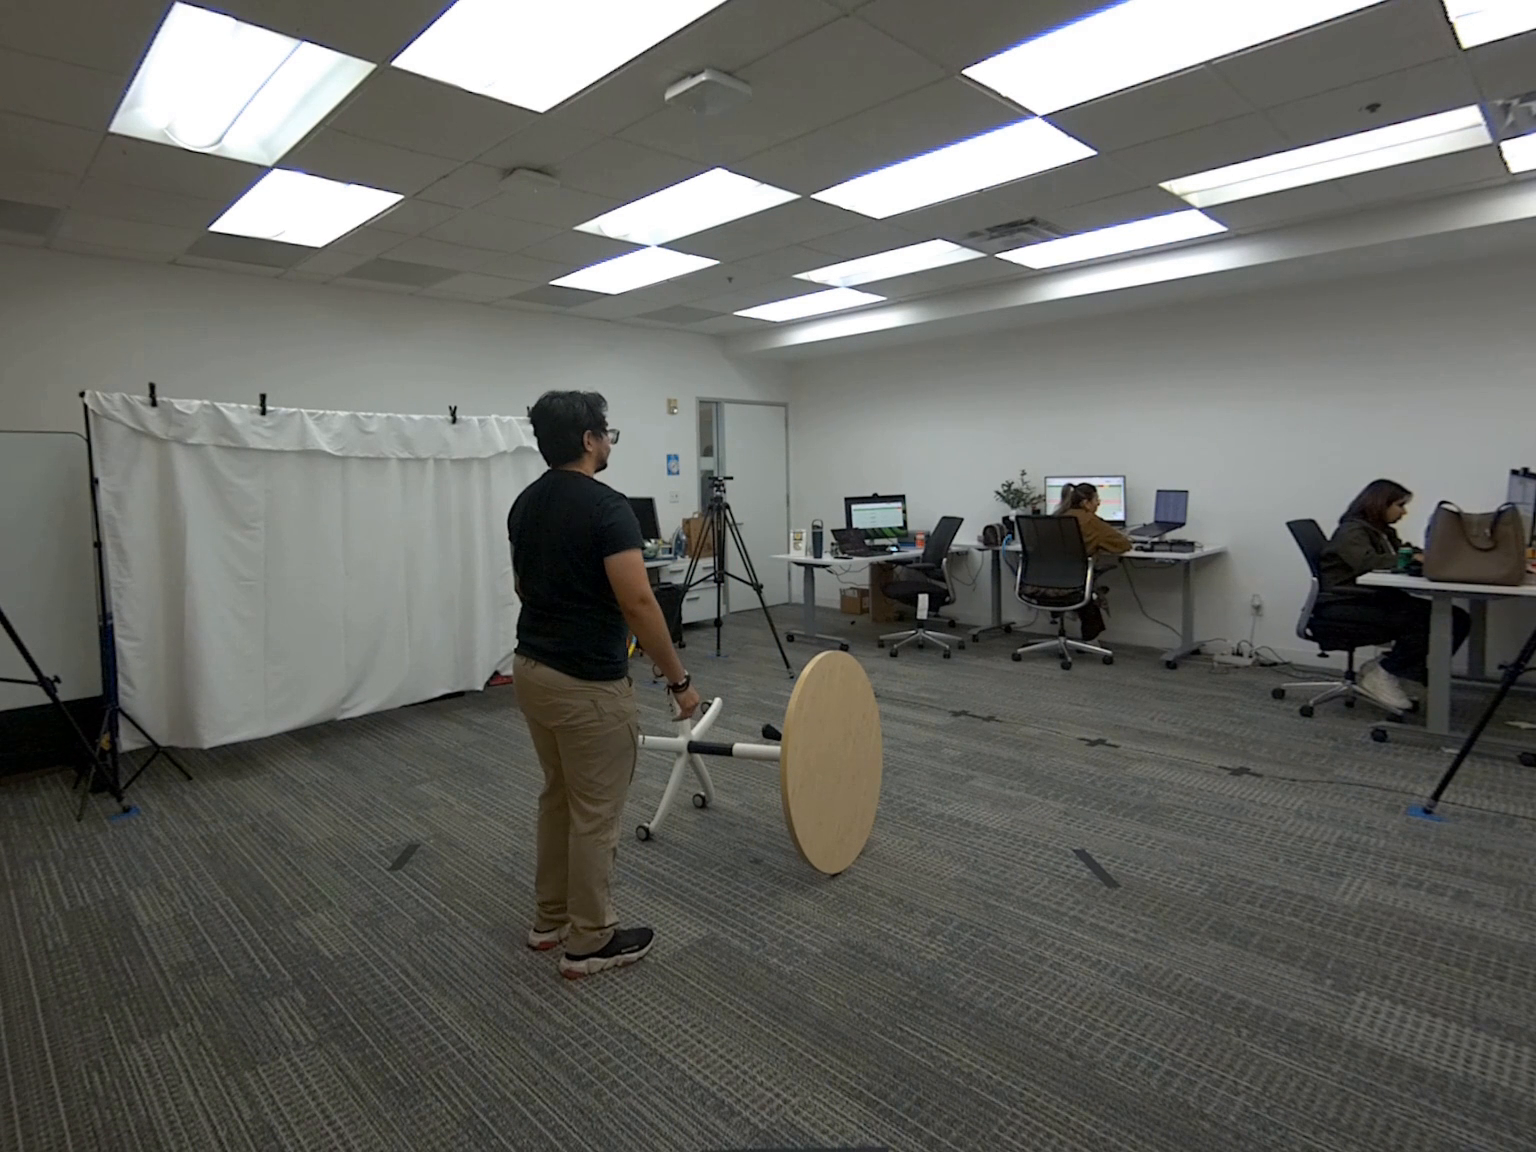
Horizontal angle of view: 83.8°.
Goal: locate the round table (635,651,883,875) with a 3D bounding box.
[{"bbox_3d":[-0.083,0.661,3.271,0.806,0.784,0.767,-3,3,32],"label":"round table"}]
